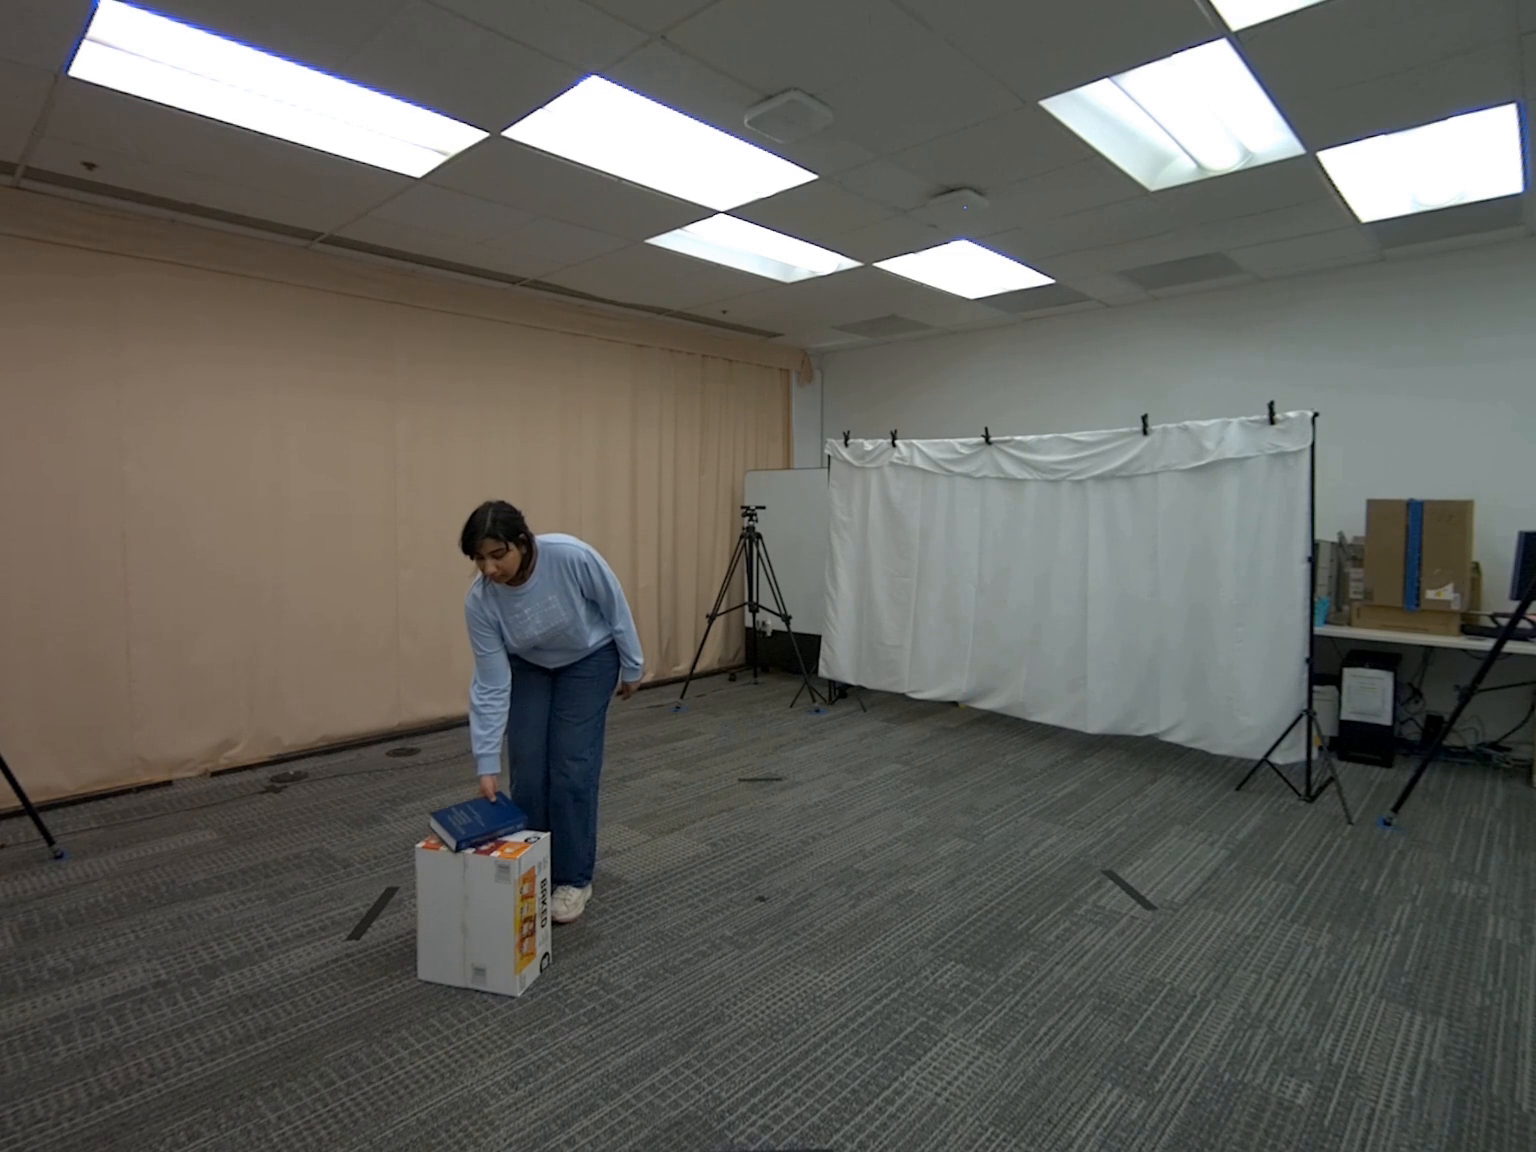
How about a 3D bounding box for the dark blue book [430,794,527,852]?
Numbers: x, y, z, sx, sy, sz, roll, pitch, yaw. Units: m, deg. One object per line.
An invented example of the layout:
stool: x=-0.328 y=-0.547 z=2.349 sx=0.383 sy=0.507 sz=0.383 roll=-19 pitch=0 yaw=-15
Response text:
dark blue book: x=-0.867 y=0.733 z=2.544 sx=0.169 sy=0.045 sz=0.238 roll=22 pitch=19 yaw=38
